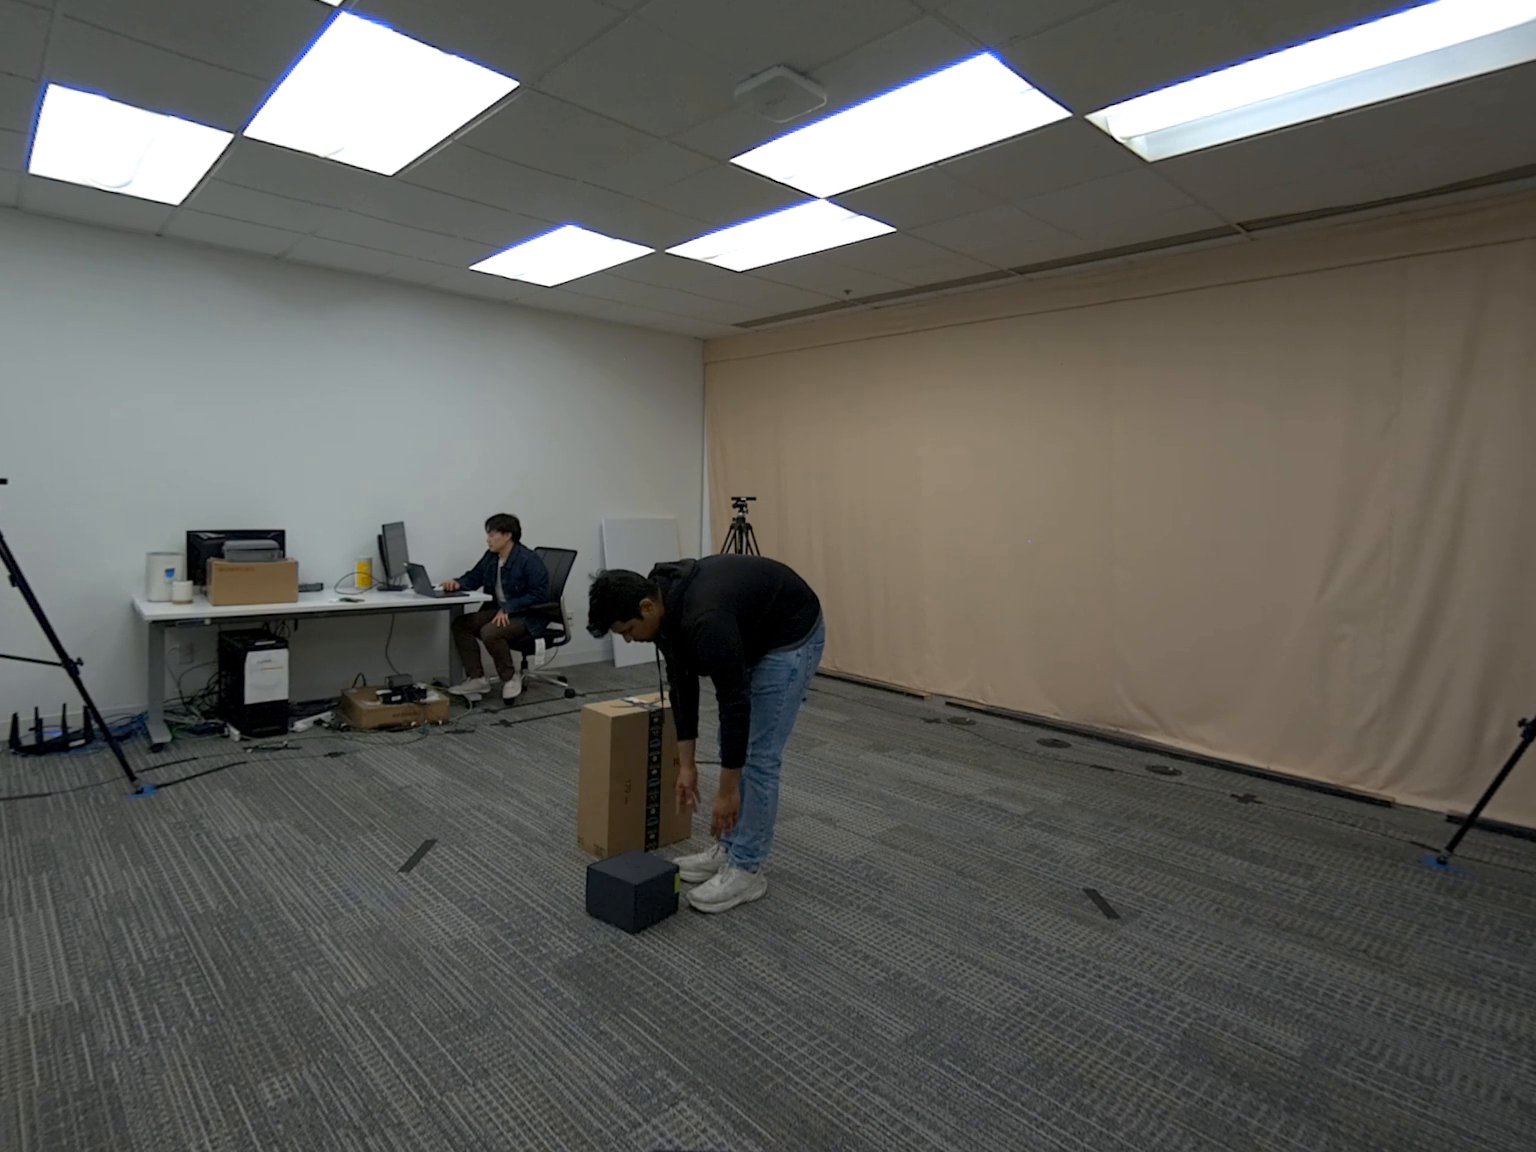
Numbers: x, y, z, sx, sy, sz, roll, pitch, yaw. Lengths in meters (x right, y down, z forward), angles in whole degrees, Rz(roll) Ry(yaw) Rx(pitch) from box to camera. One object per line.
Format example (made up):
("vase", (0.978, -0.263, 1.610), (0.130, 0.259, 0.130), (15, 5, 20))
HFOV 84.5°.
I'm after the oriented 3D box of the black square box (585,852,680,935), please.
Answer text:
("black square box", (-0.463, 1.038, 2.801), (0.233, 0.156, 0.212), (3, 3, 37))
